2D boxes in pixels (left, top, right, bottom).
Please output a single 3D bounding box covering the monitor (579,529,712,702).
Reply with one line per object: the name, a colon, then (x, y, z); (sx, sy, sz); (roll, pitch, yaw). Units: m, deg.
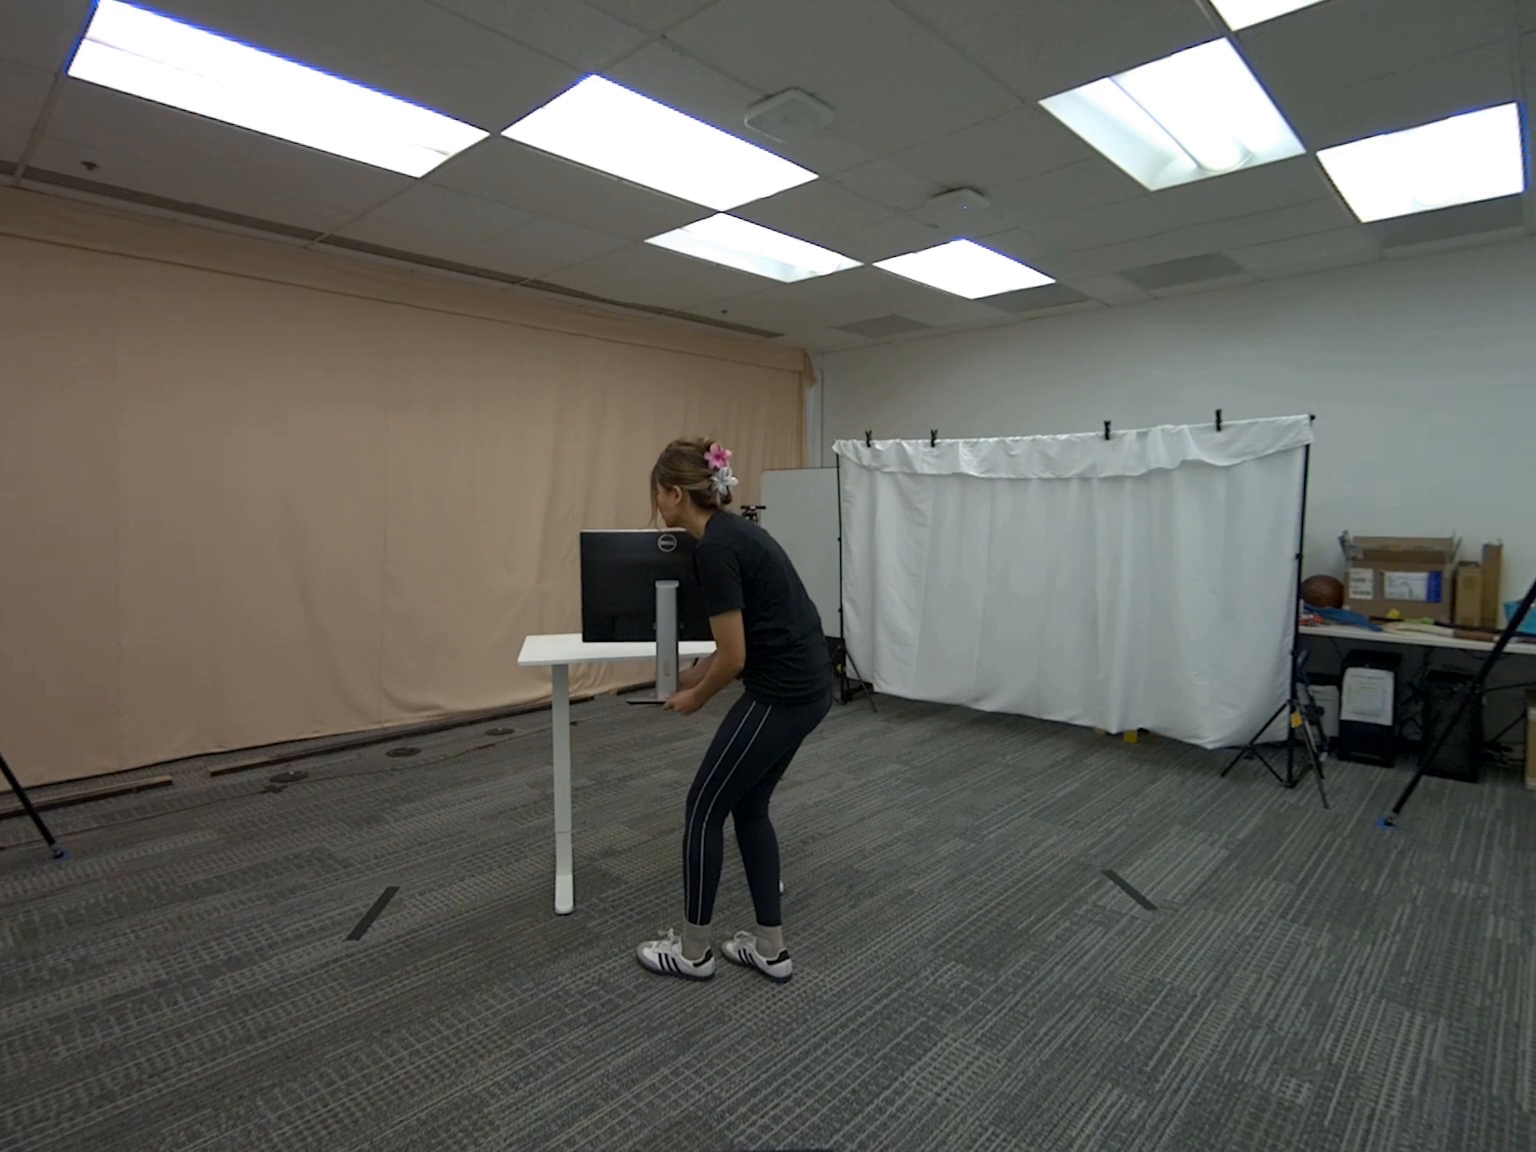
monitor: (-0.325, 0.126, 2.639); (0.537, 0.524, 0.187); (0, -6, -4)
